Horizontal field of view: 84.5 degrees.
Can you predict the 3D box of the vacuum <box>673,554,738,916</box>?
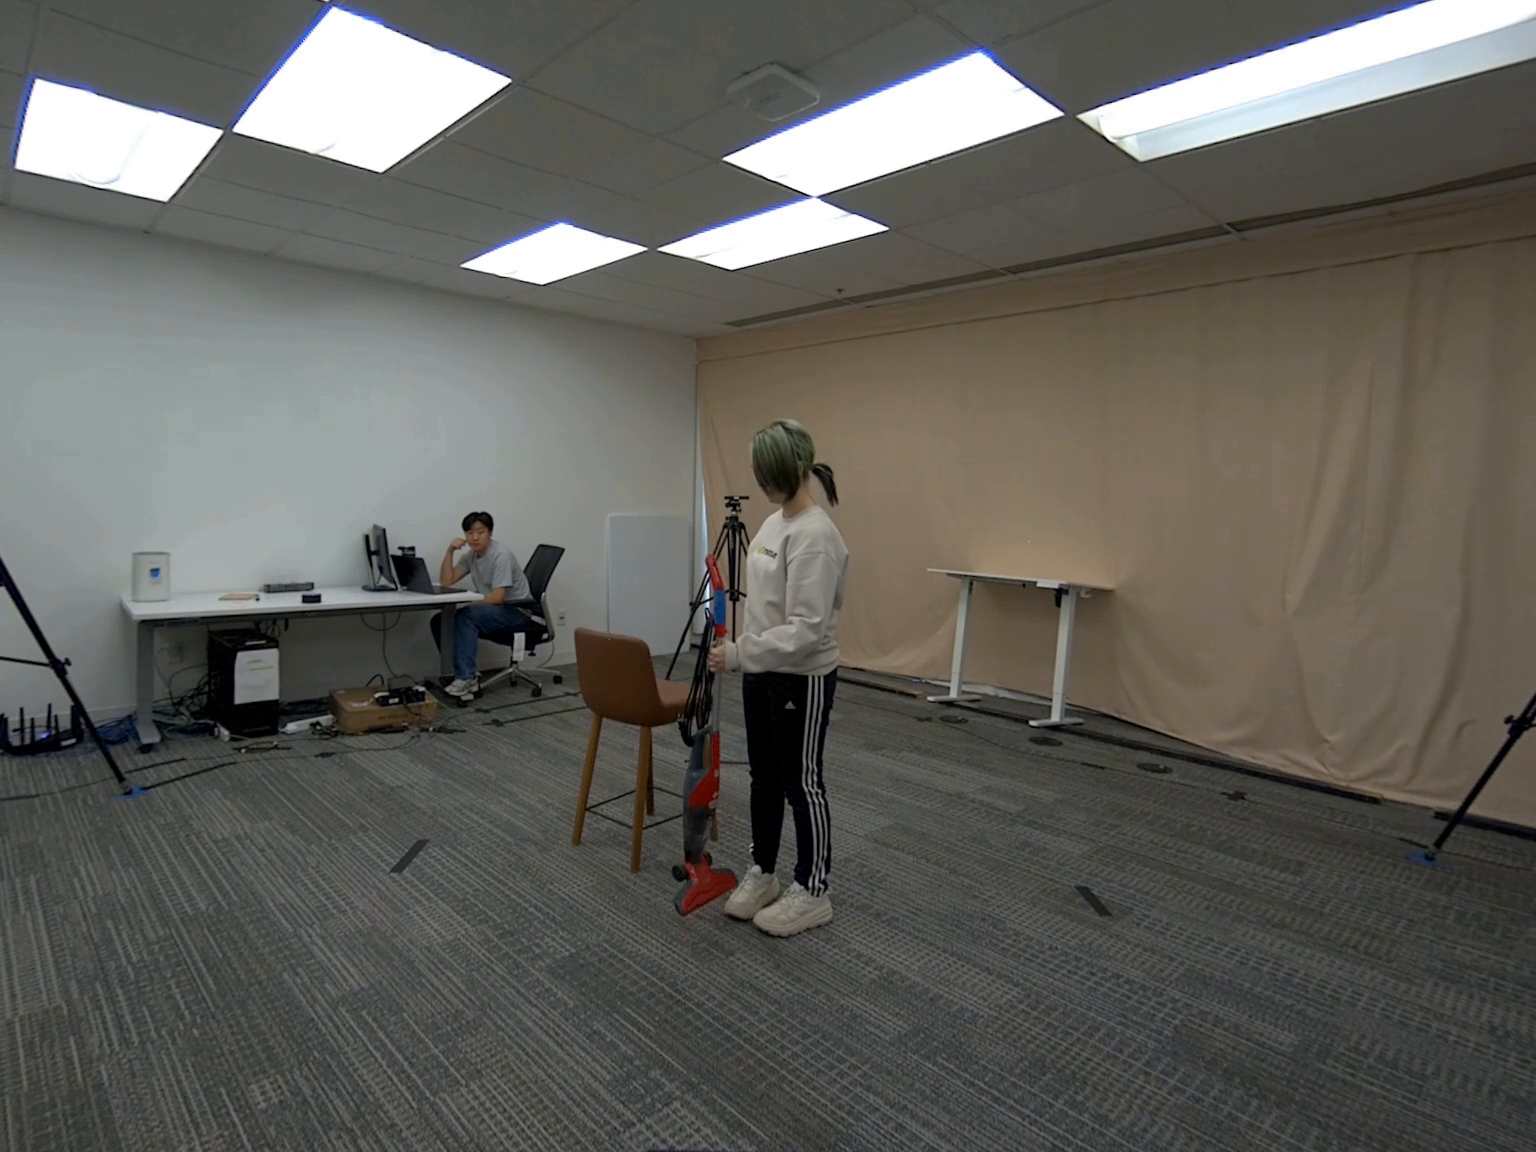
[{"bbox_3d":[-0.198,0.483,2.579,0.148,1.043,0.247,8,10,38],"label":"vacuum"}]
